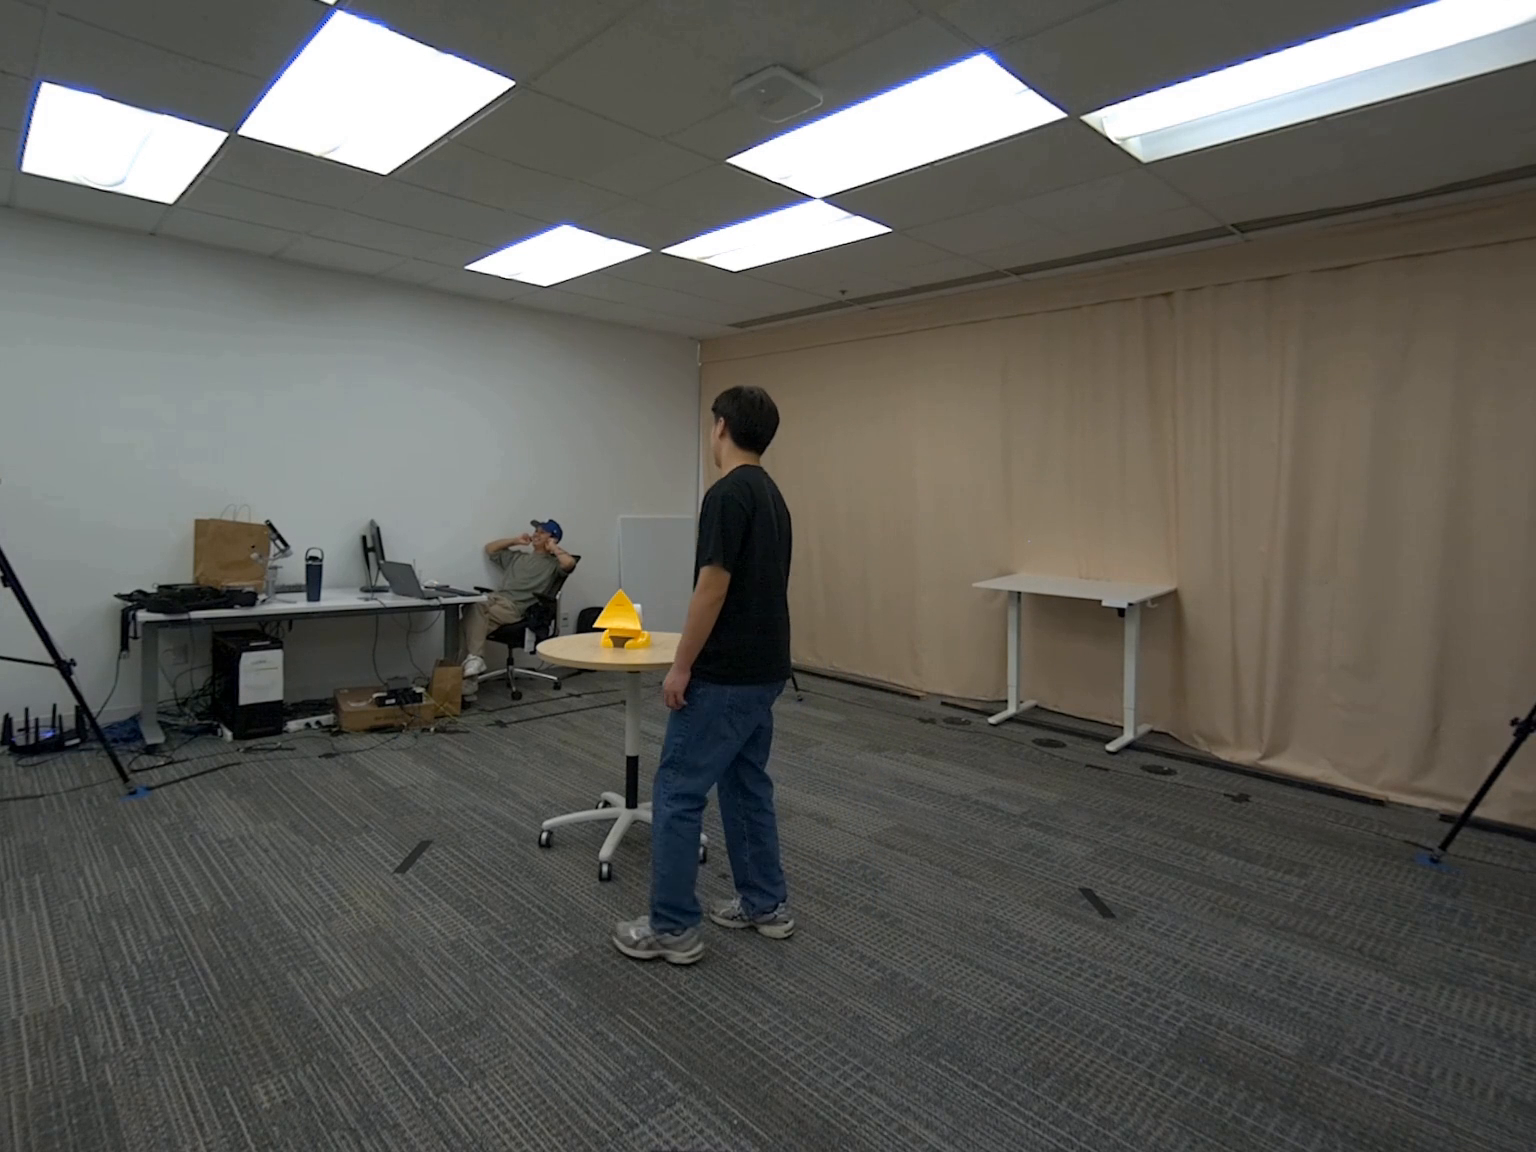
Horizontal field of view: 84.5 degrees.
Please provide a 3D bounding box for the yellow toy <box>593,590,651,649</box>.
[{"bbox_3d":[-0.578,0.162,3.375,0.207,0.230,0.191,2,3,13],"label":"yellow toy"}]
